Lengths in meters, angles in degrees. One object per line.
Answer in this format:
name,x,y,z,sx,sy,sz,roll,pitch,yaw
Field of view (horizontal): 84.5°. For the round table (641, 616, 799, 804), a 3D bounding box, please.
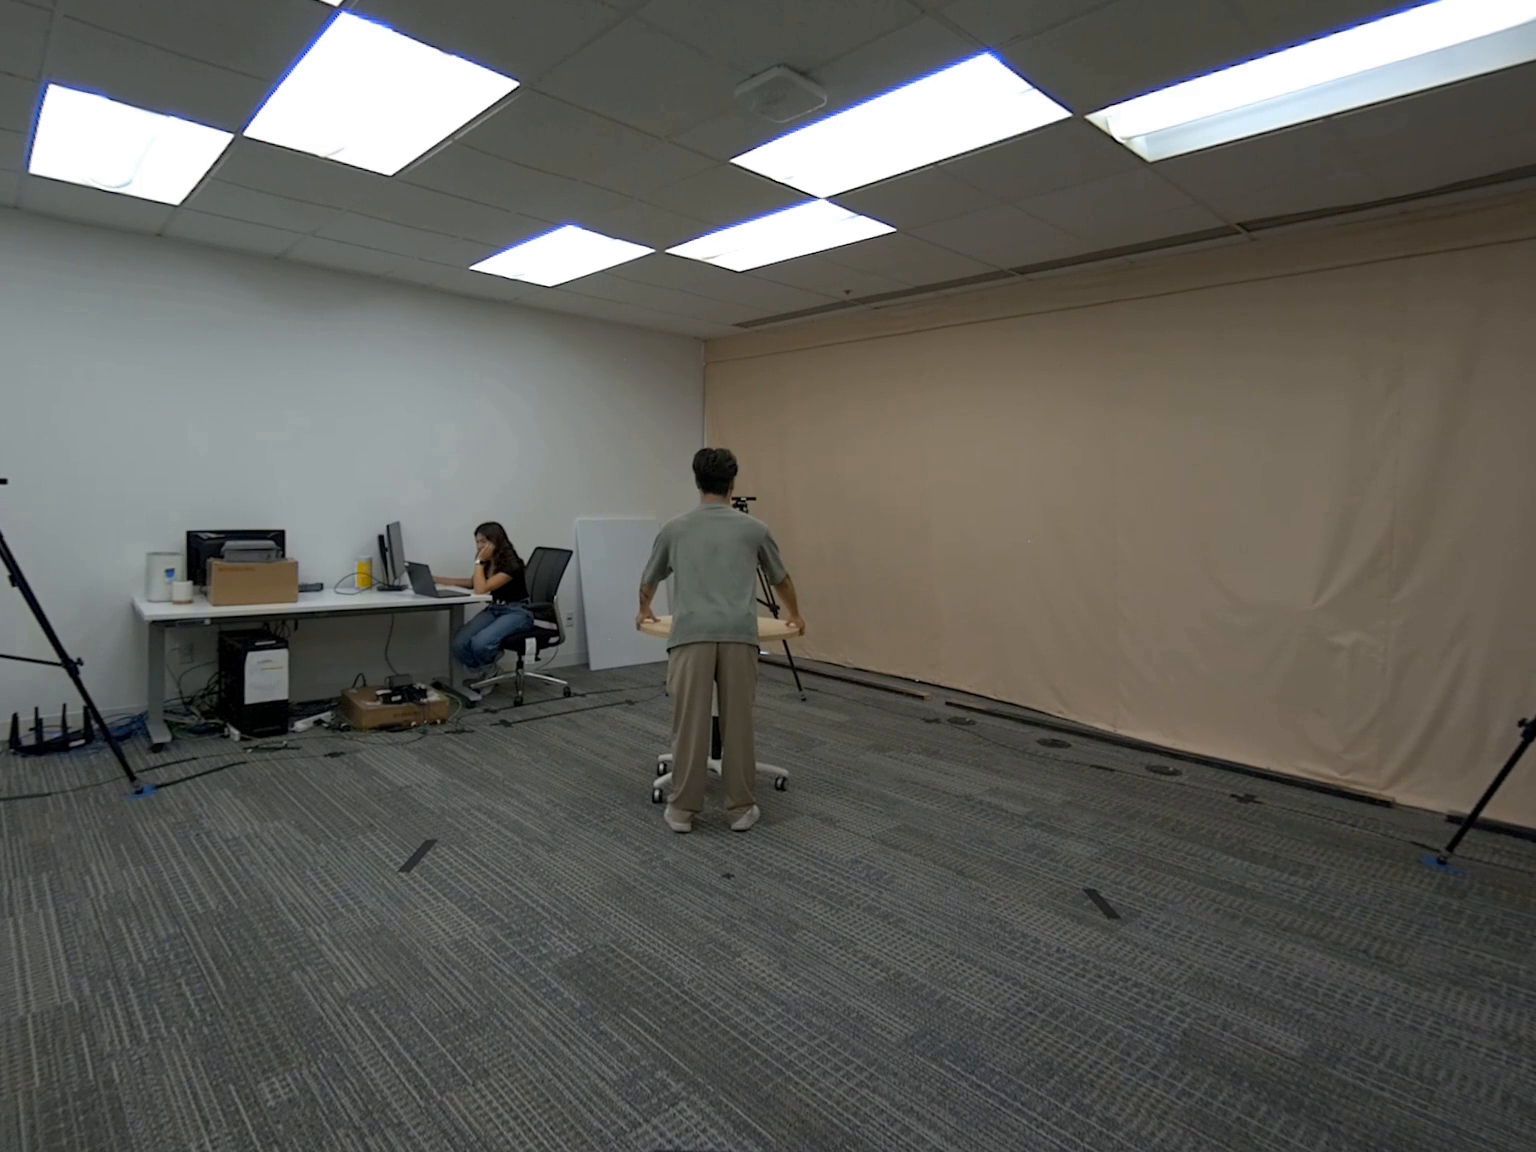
round table,-0.239,0.628,4.047,0.784,0.785,0.787,1,3,-1
